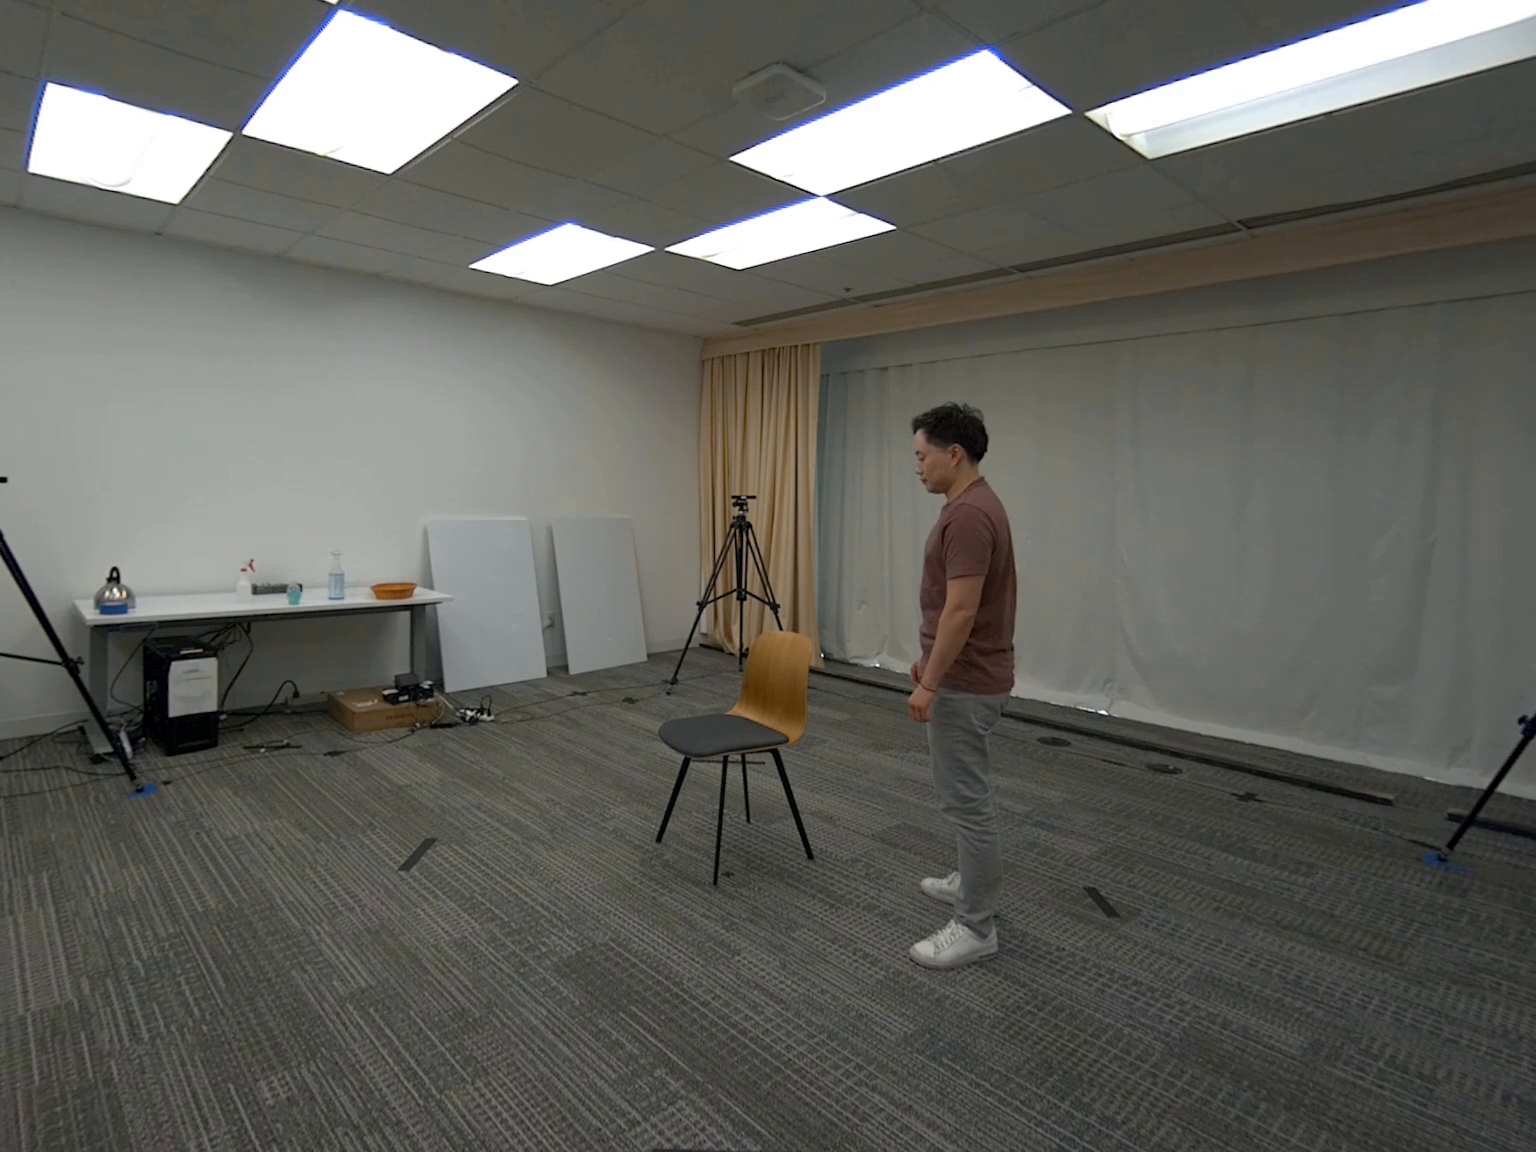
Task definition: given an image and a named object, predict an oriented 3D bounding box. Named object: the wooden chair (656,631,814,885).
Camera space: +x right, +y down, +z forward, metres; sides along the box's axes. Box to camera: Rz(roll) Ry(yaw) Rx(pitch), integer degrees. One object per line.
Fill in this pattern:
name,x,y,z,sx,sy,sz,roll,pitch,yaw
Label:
wooden chair,-0.138,0.659,3.282,0.511,0.877,0.489,4,1,-34
